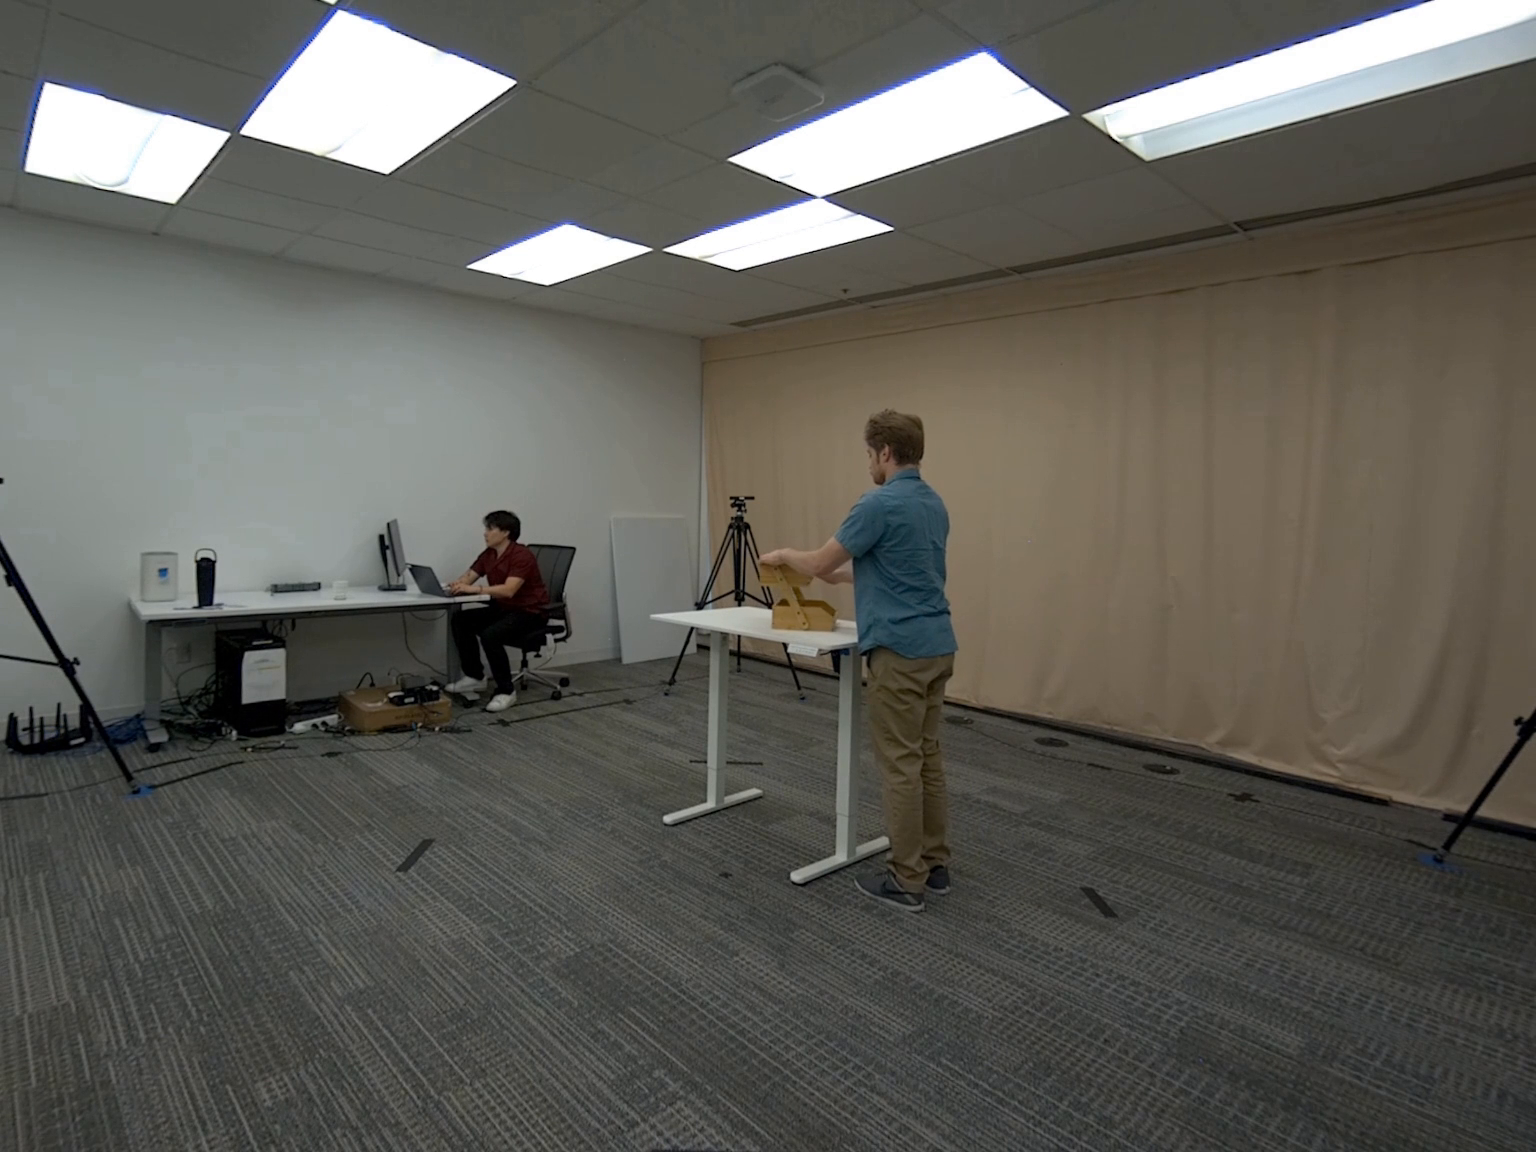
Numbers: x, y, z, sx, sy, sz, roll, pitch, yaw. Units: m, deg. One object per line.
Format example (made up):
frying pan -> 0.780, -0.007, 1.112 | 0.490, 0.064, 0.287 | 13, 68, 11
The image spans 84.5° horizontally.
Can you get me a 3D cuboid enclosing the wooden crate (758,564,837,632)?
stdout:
wooden crate -> 0.124, 0.074, 3.416 | 0.303, 0.273, 0.324 | 2, 3, 2
